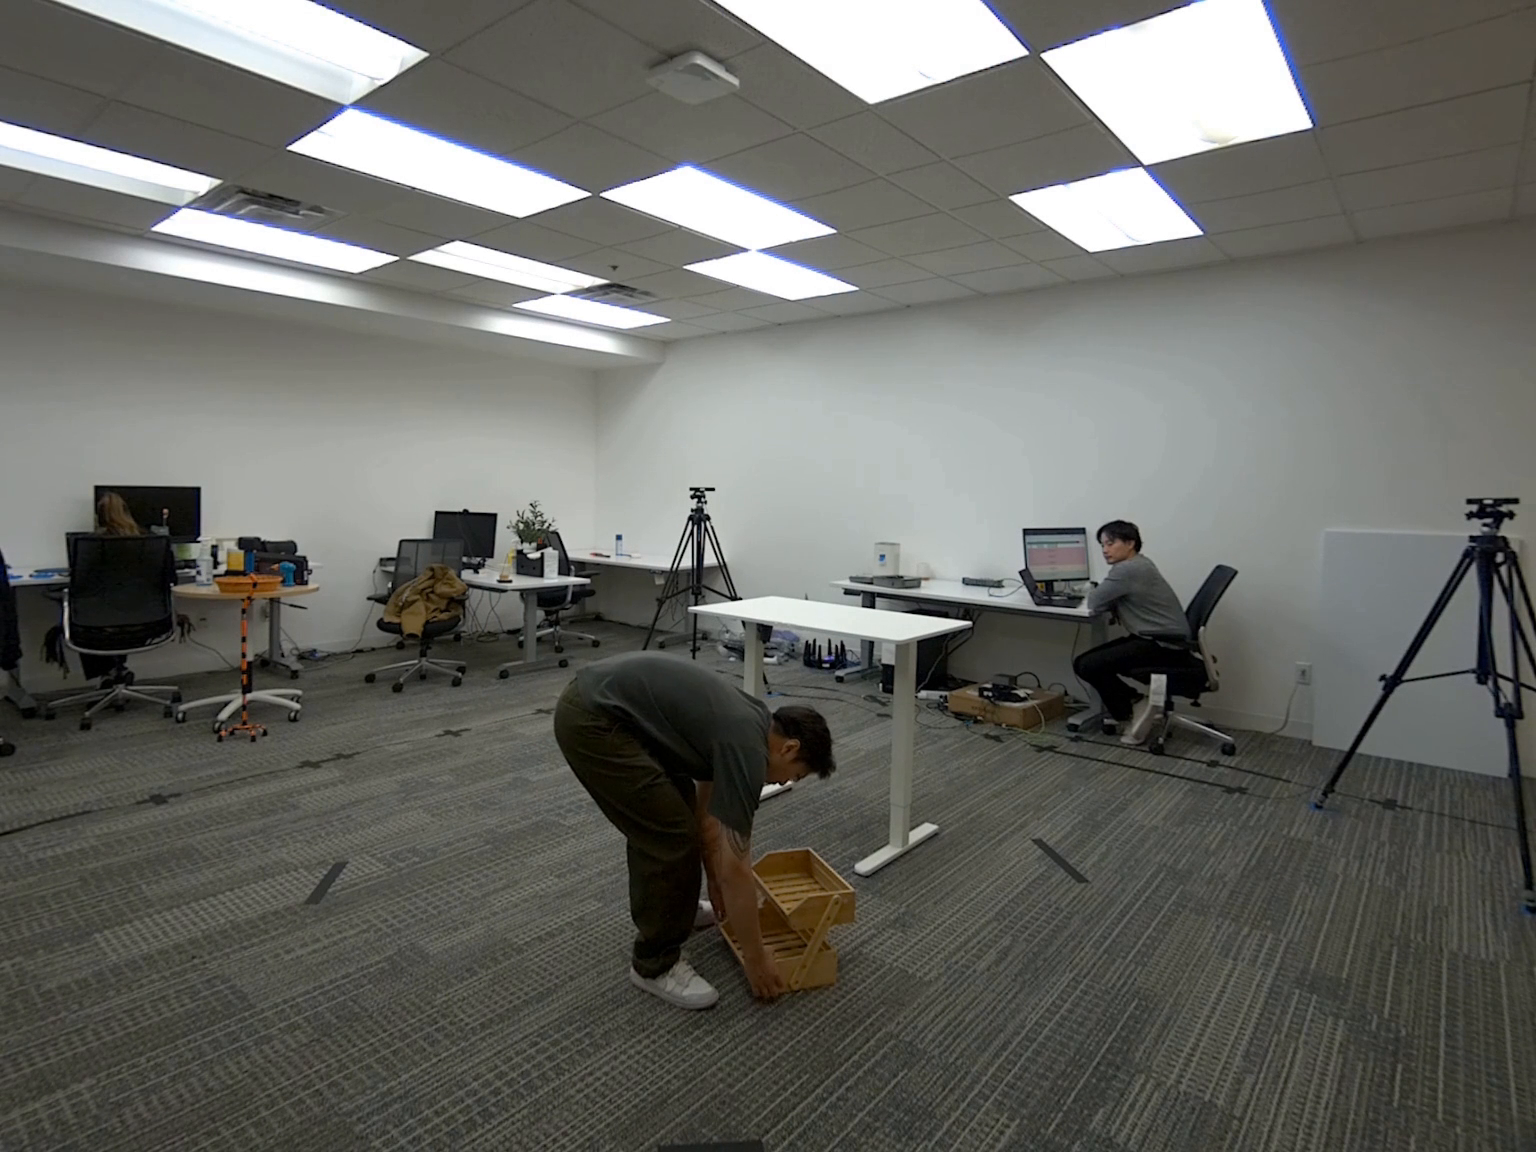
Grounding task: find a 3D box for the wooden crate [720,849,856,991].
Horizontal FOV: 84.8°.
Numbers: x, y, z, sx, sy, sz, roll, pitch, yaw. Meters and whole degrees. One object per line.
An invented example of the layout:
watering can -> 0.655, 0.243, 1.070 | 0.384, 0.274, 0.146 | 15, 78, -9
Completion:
wooden crate -> 0.044, 1.007, 2.497 | 0.295, 0.272, 0.332 | 0, 4, -22
